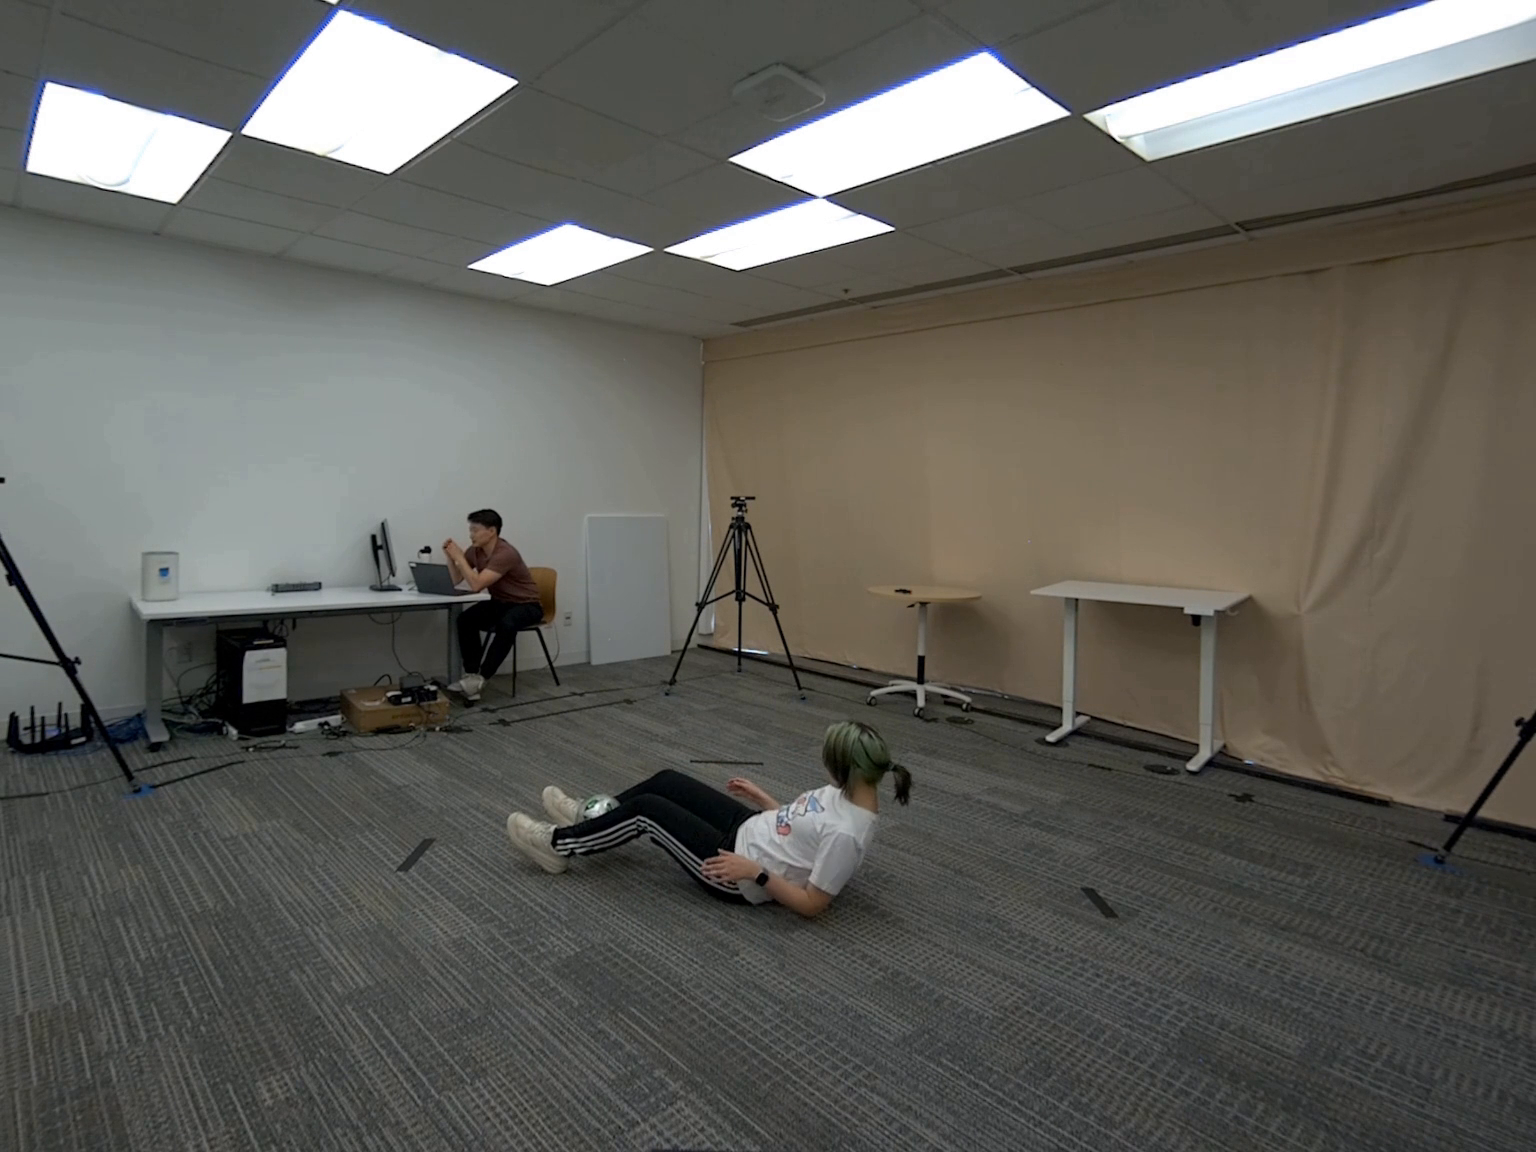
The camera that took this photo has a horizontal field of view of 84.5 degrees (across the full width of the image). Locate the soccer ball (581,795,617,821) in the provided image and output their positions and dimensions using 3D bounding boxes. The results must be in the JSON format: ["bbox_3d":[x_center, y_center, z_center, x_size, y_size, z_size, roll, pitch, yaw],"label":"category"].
[{"bbox_3d":[-0.627,0.919,3.165,0.187,0.187,0.188,1,4,-1],"label":"soccer ball"}]
